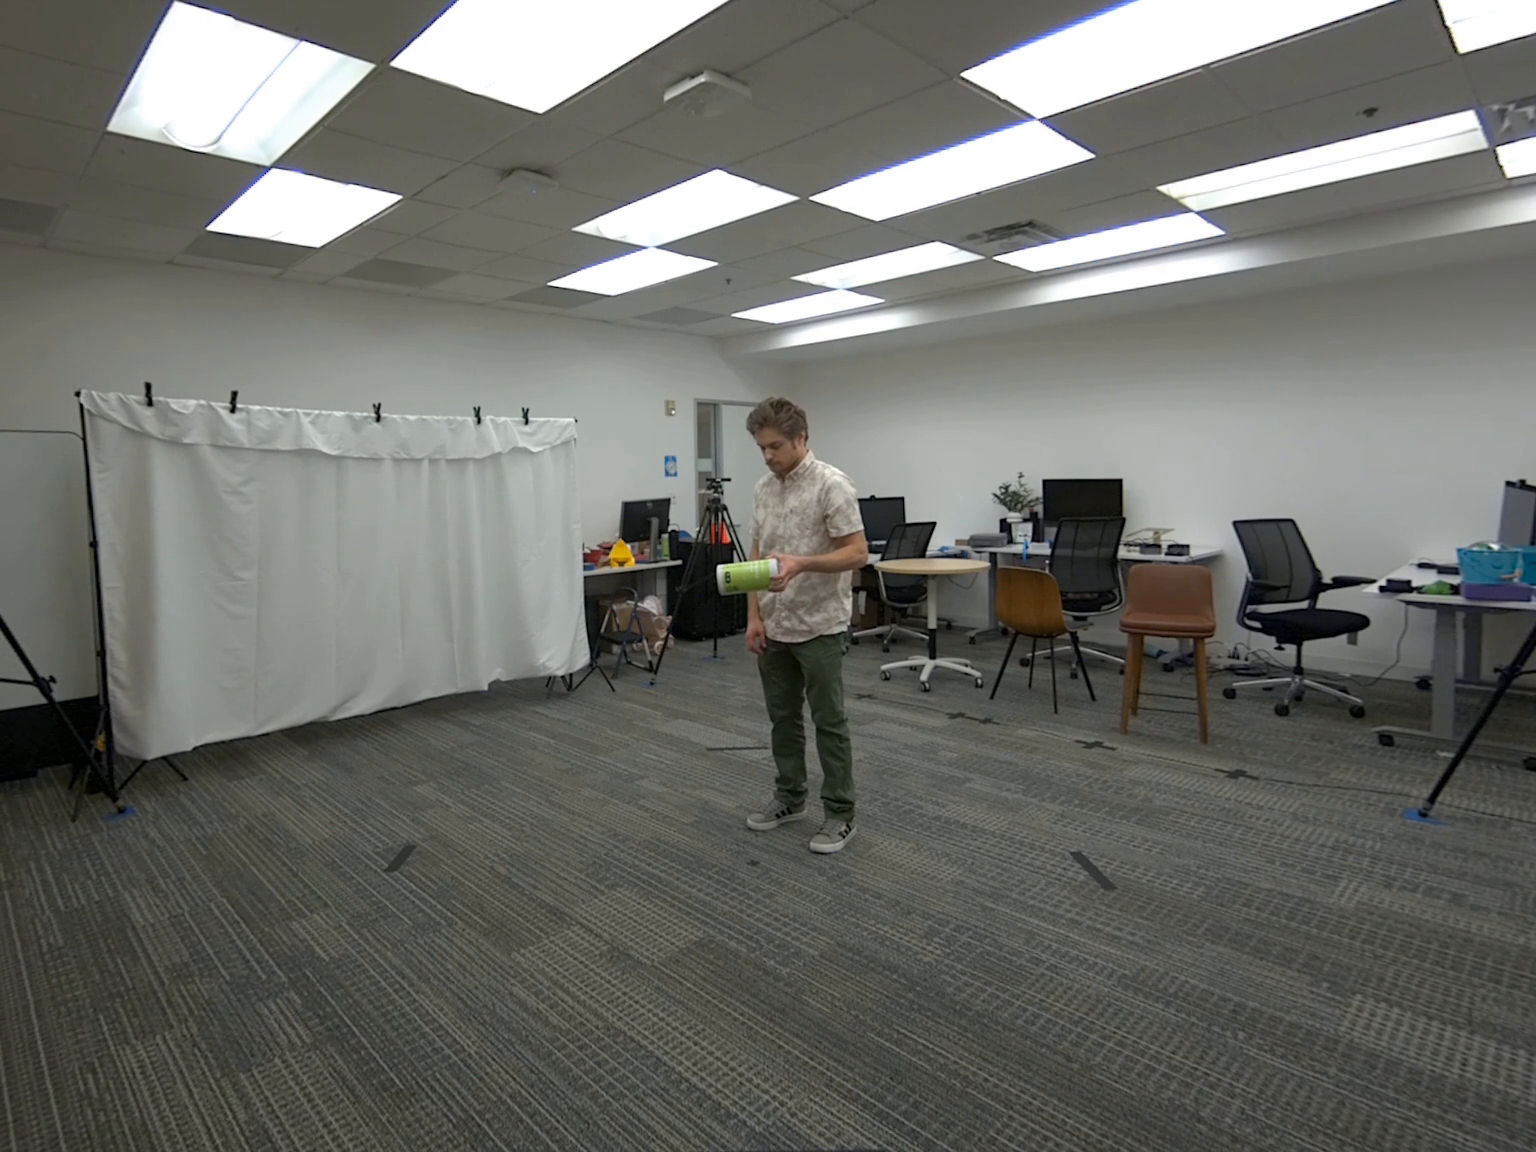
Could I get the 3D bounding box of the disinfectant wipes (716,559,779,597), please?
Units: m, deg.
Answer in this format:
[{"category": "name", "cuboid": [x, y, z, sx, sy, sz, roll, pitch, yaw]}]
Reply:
[{"category": "disinfectant wipes", "cuboid": [-0.062, 0.003, 3.024, 0.219, 0.117, 0.117, -7, 4, 10]}]
